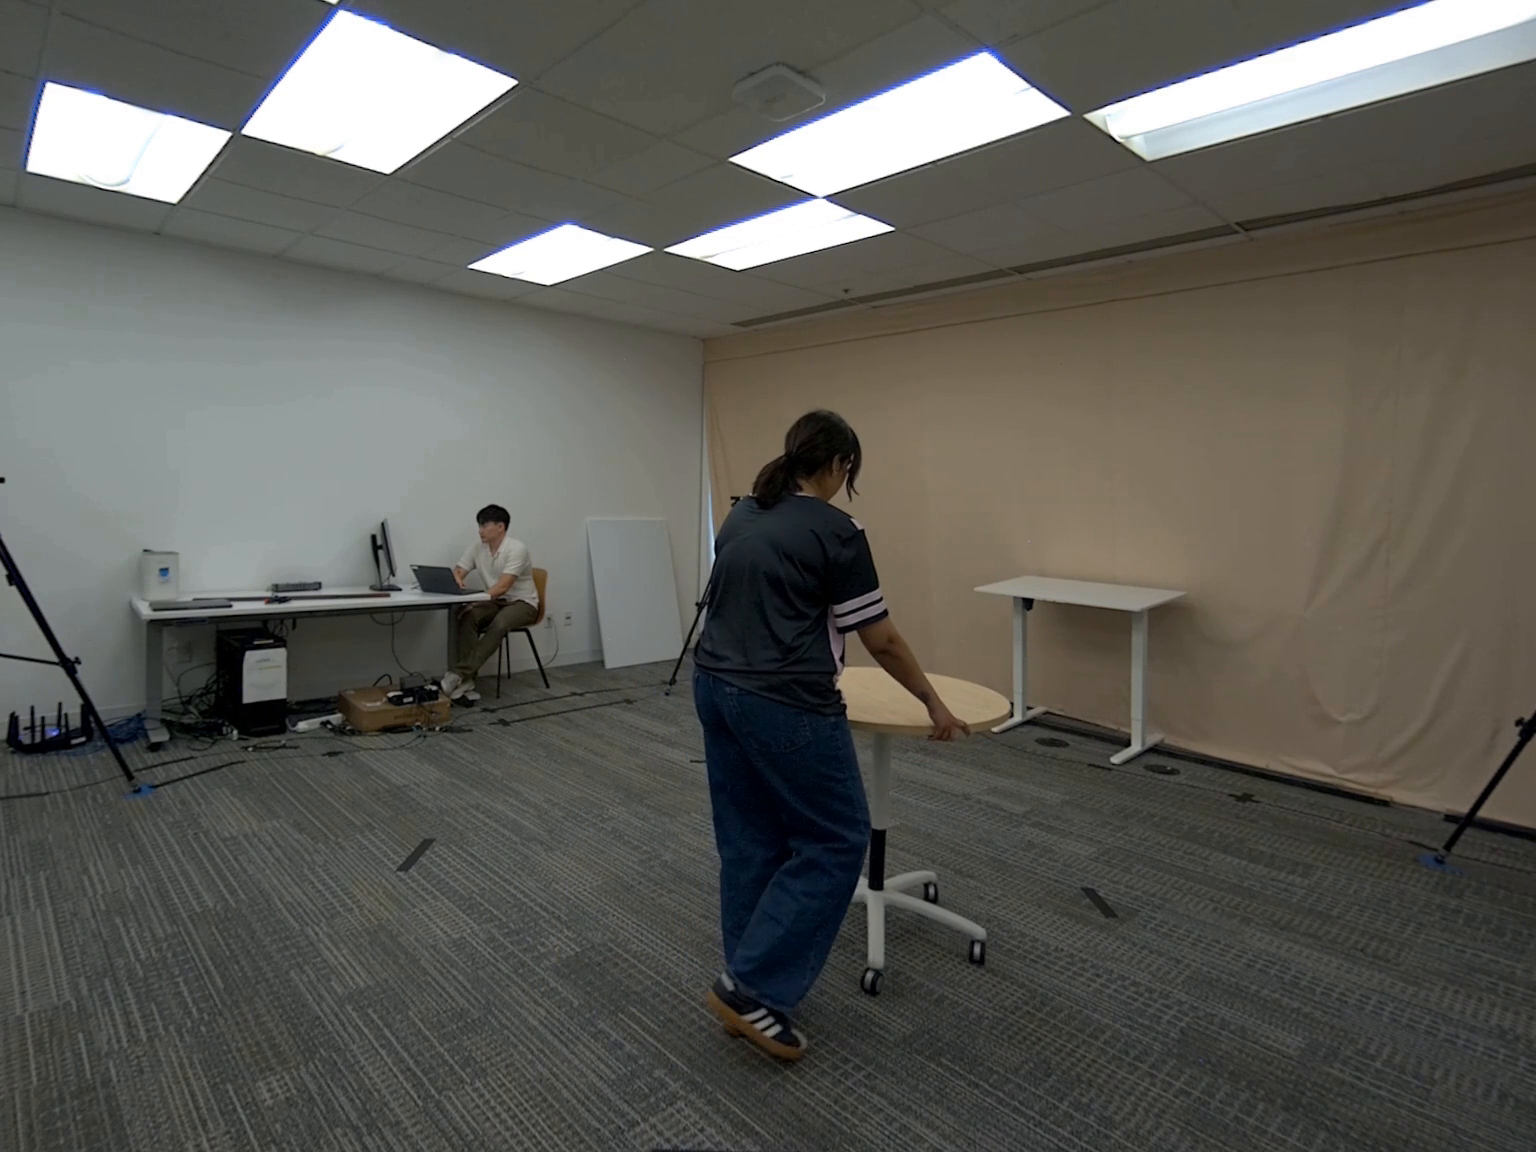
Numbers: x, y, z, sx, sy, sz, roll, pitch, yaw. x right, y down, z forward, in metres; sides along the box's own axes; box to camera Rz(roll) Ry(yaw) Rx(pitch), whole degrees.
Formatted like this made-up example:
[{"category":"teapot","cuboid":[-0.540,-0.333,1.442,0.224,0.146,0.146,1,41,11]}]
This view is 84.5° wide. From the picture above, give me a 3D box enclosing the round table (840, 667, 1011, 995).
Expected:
[{"category":"round table","cuboid":[0.341,0.759,2.711,0.784,0.784,0.788,2,4,-2]}]
